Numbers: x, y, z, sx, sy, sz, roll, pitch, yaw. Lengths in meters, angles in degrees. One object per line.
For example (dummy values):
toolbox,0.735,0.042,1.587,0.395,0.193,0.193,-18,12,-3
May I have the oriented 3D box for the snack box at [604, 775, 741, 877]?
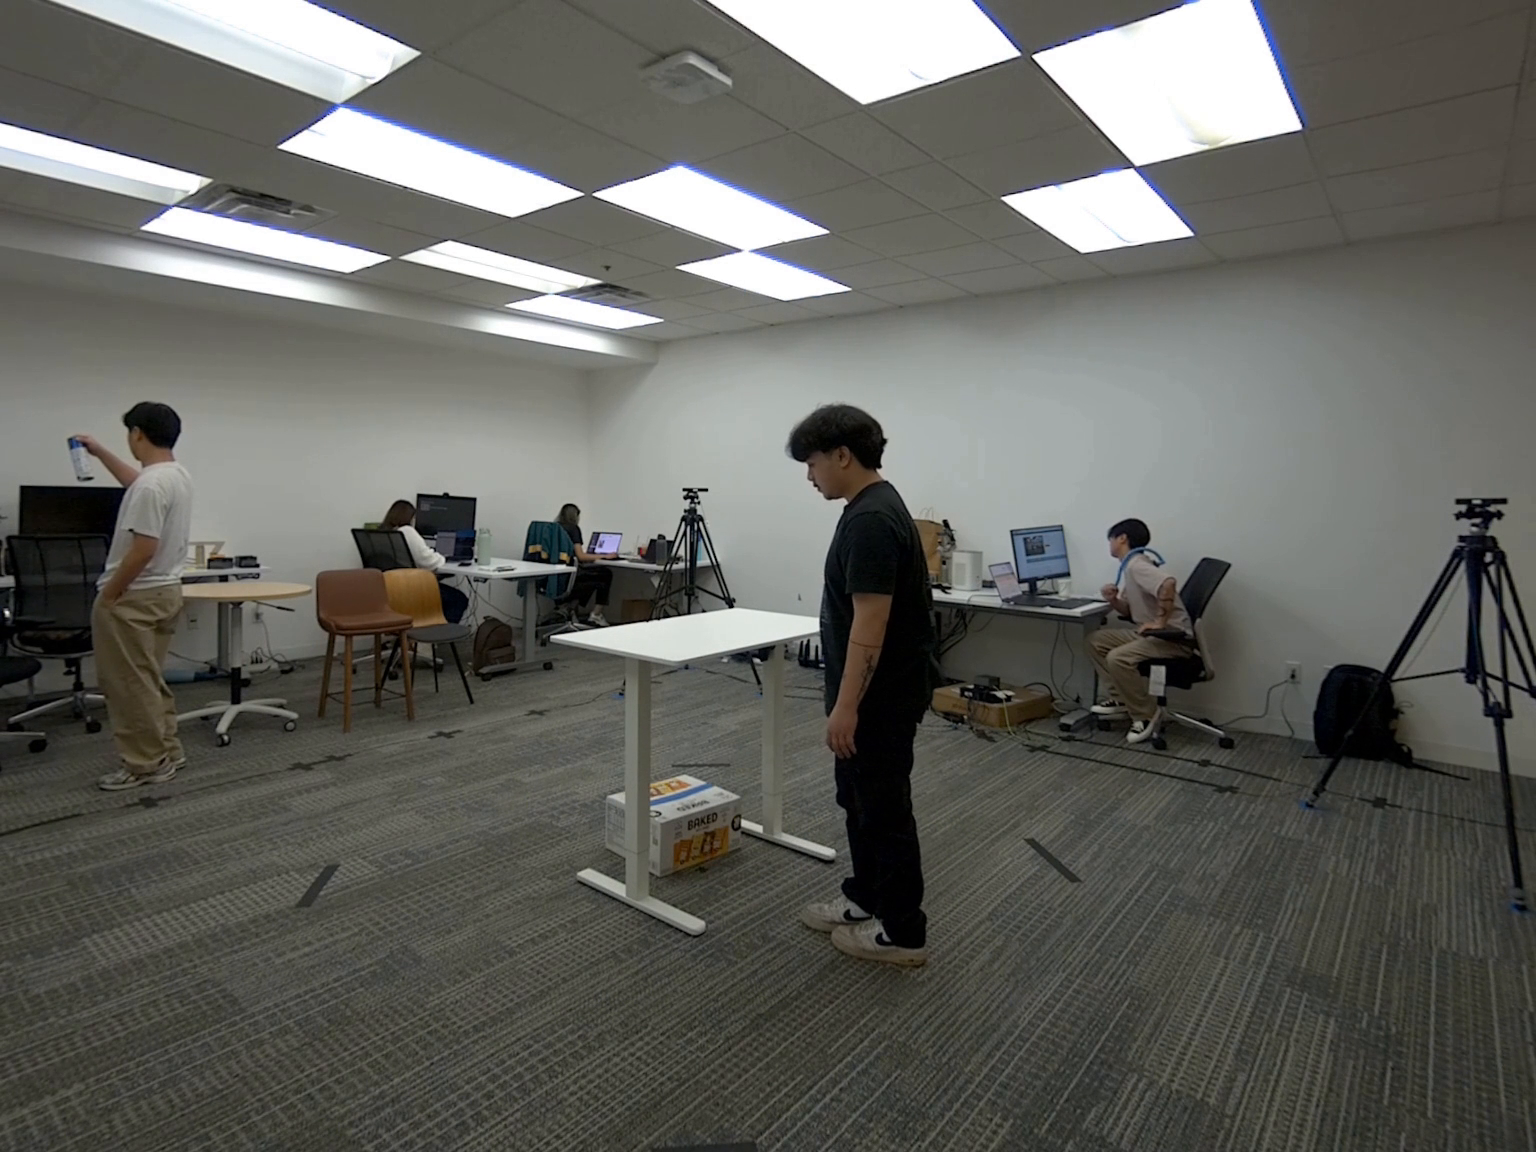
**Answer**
snack box,-0.373,0.951,3.279,0.393,0.205,0.352,-4,7,-45
